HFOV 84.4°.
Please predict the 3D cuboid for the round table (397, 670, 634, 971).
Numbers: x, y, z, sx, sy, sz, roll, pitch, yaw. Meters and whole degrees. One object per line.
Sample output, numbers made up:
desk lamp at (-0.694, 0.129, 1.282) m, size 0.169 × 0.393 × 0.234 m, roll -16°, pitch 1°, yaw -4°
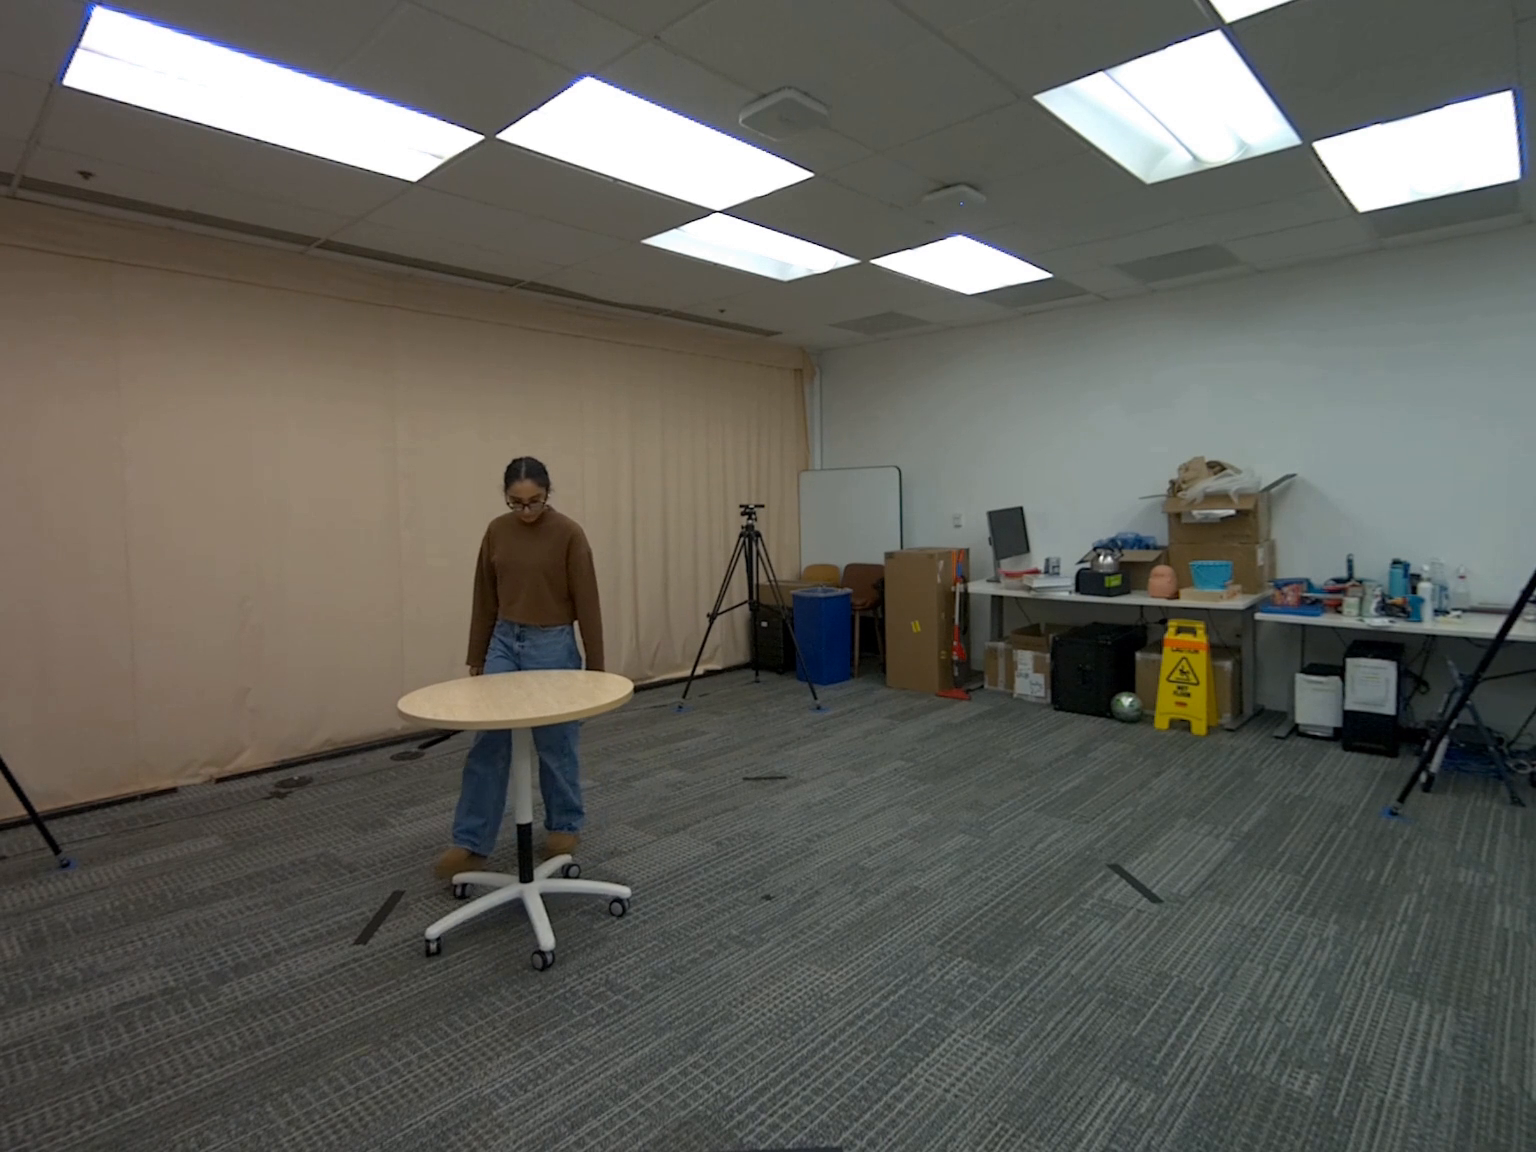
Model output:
round table at (-0.821, 0.784, 2.829) m, size 0.763 × 0.792 × 0.766 m, roll -2°, pitch 3°, yaw -2°
